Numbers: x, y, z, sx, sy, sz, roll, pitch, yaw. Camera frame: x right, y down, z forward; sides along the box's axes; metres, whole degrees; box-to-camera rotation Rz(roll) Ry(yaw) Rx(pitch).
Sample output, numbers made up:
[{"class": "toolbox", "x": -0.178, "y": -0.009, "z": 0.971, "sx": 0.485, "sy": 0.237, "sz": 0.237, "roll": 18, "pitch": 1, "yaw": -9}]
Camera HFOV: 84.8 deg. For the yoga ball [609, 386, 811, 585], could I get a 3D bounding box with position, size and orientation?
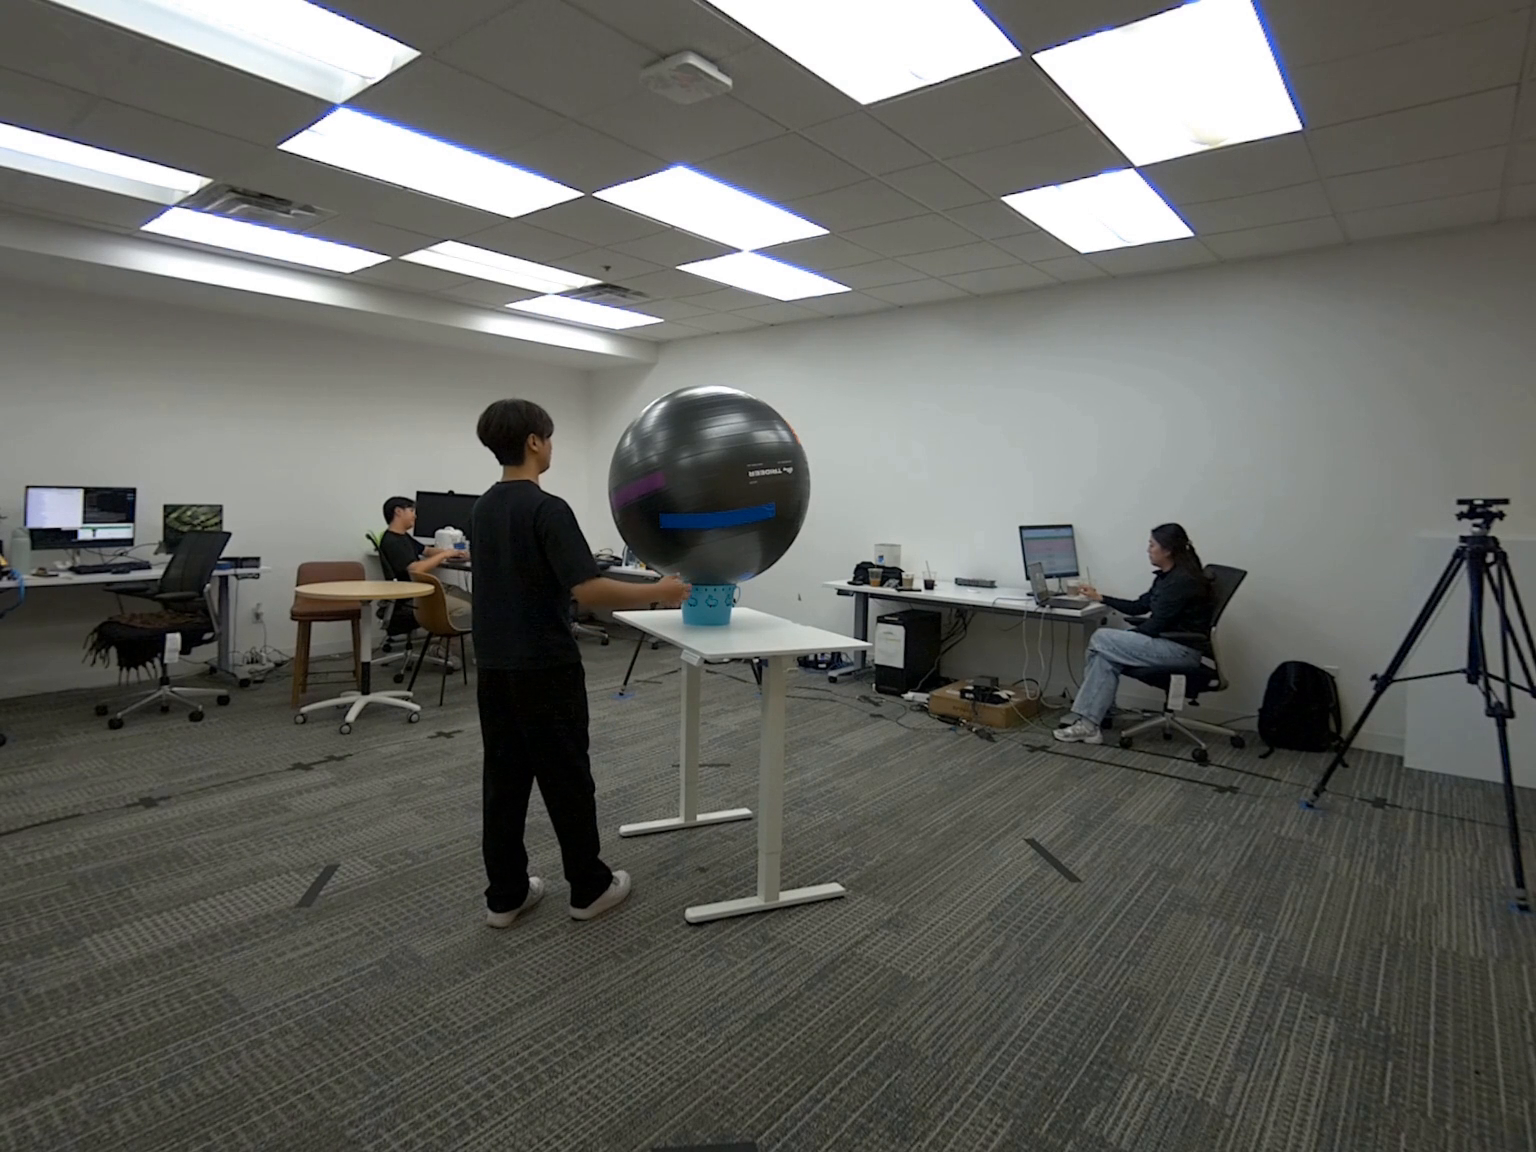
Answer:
[{"class": "yoga ball", "x": -0.233, "y": -0.339, "z": 3.222, "sx": 0.757, "sy": 0.756, "sz": 0.762, "roll": 1, "pitch": 4, "yaw": -2}]
